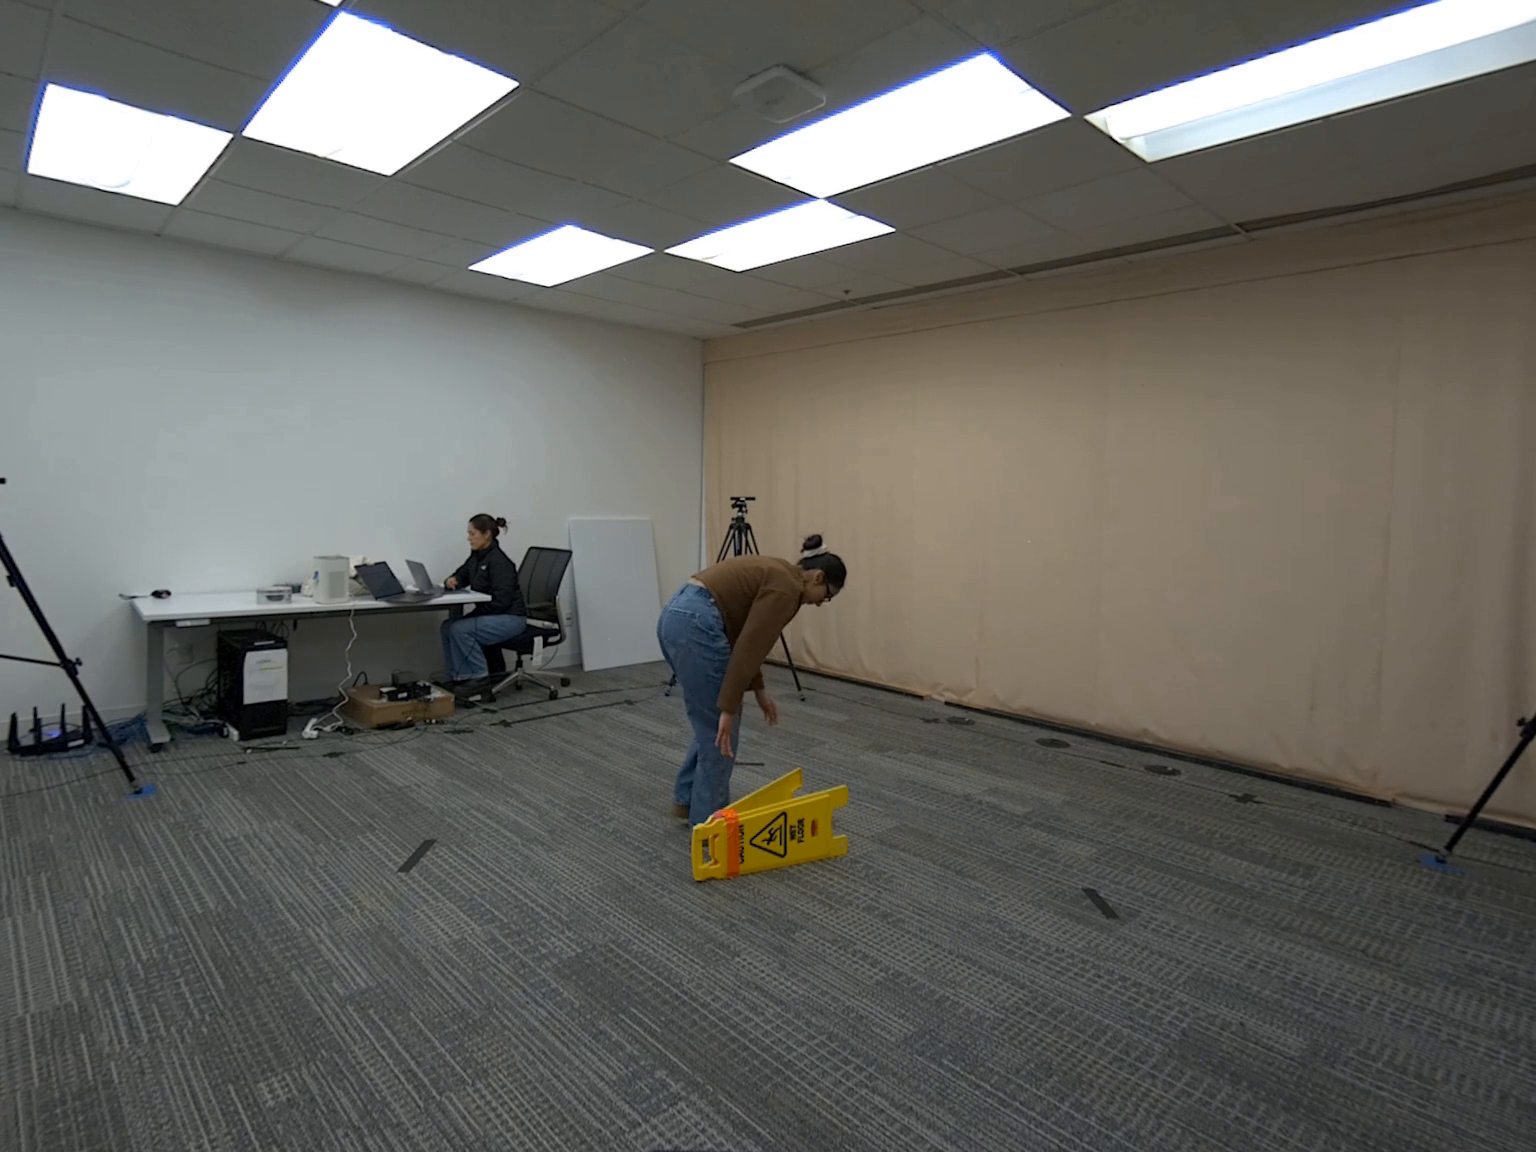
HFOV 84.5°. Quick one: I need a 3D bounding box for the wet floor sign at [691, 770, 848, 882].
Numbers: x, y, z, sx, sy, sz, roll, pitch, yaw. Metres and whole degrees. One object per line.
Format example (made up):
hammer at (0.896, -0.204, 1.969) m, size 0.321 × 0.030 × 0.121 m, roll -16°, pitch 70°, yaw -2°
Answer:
wet floor sign at (-0.023, 0.973, 3.220) m, size 0.632 × 0.281 × 0.297 m, roll -6°, pitch 8°, yaw -38°
